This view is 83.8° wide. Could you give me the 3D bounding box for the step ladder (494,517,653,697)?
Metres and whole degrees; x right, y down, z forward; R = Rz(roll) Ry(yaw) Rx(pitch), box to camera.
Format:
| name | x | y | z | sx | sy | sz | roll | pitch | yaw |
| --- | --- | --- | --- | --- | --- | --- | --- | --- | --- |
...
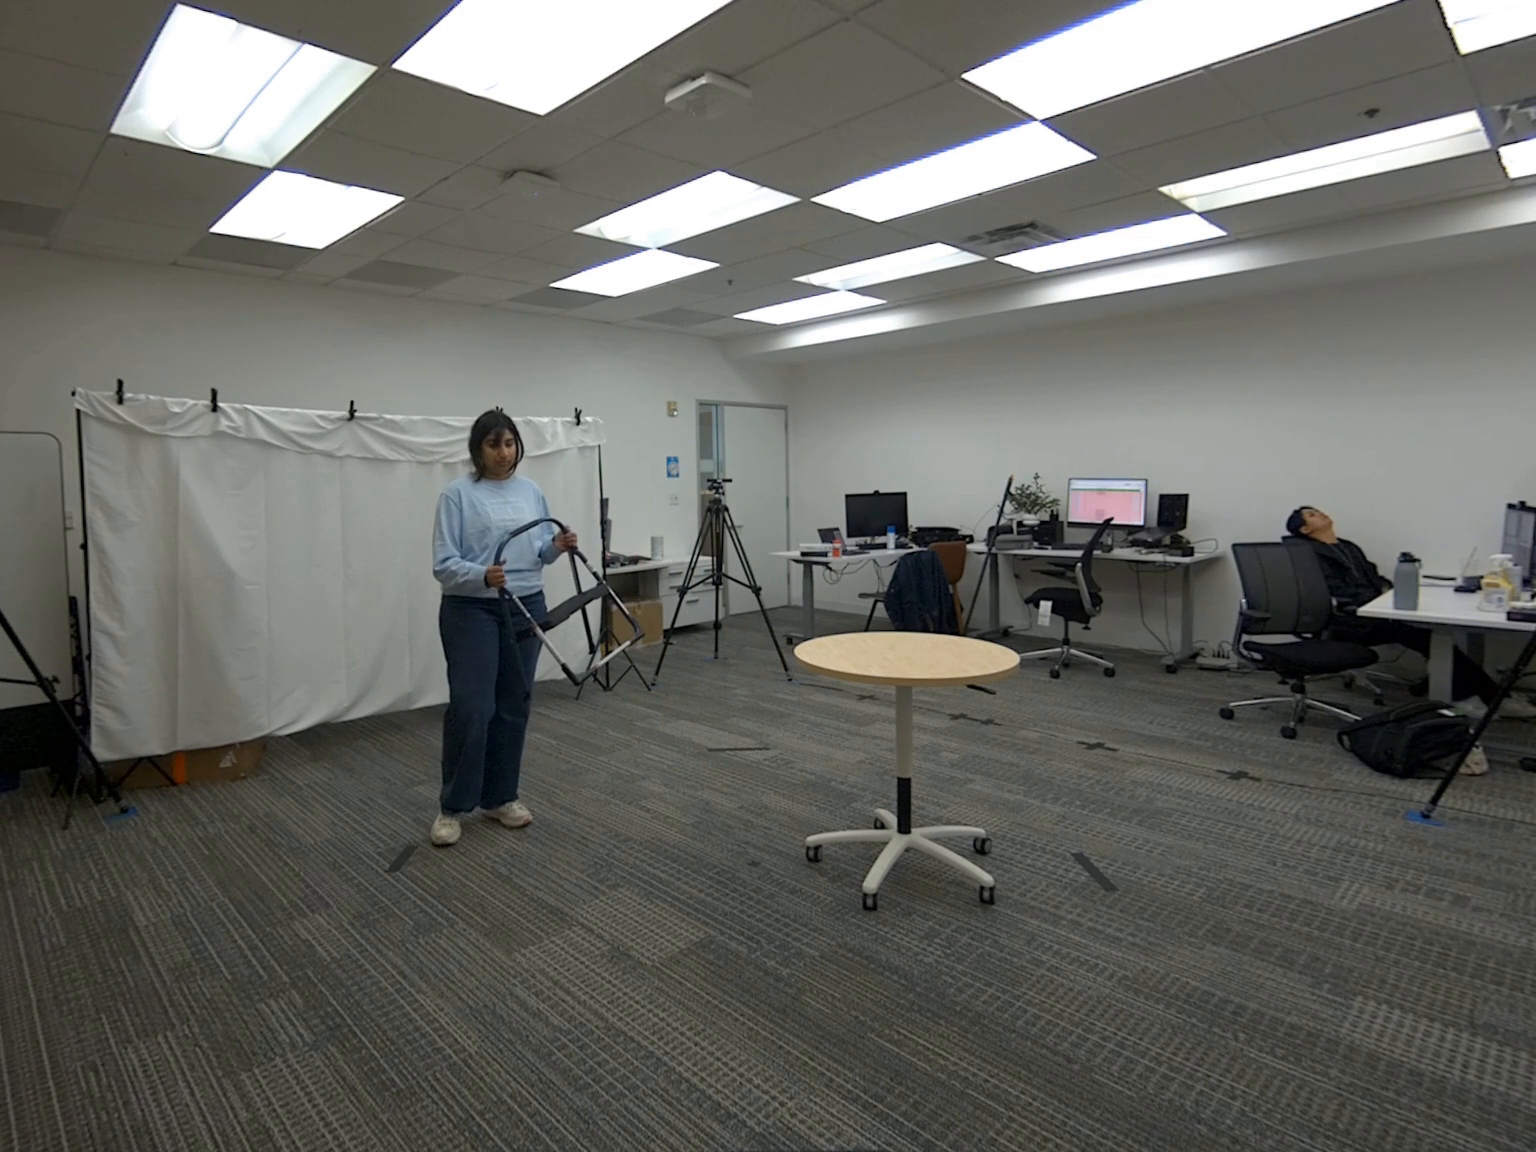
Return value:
| name | x | y | z | sx | sy | sz | roll | pitch | yaw |
| --- | --- | --- | --- | --- | --- | --- | --- | --- | --- |
| step ladder | -0.846 | 0.093 | 3.314 | 0.355 | 0.601 | 0.427 | -21 | 9 | 37 |
